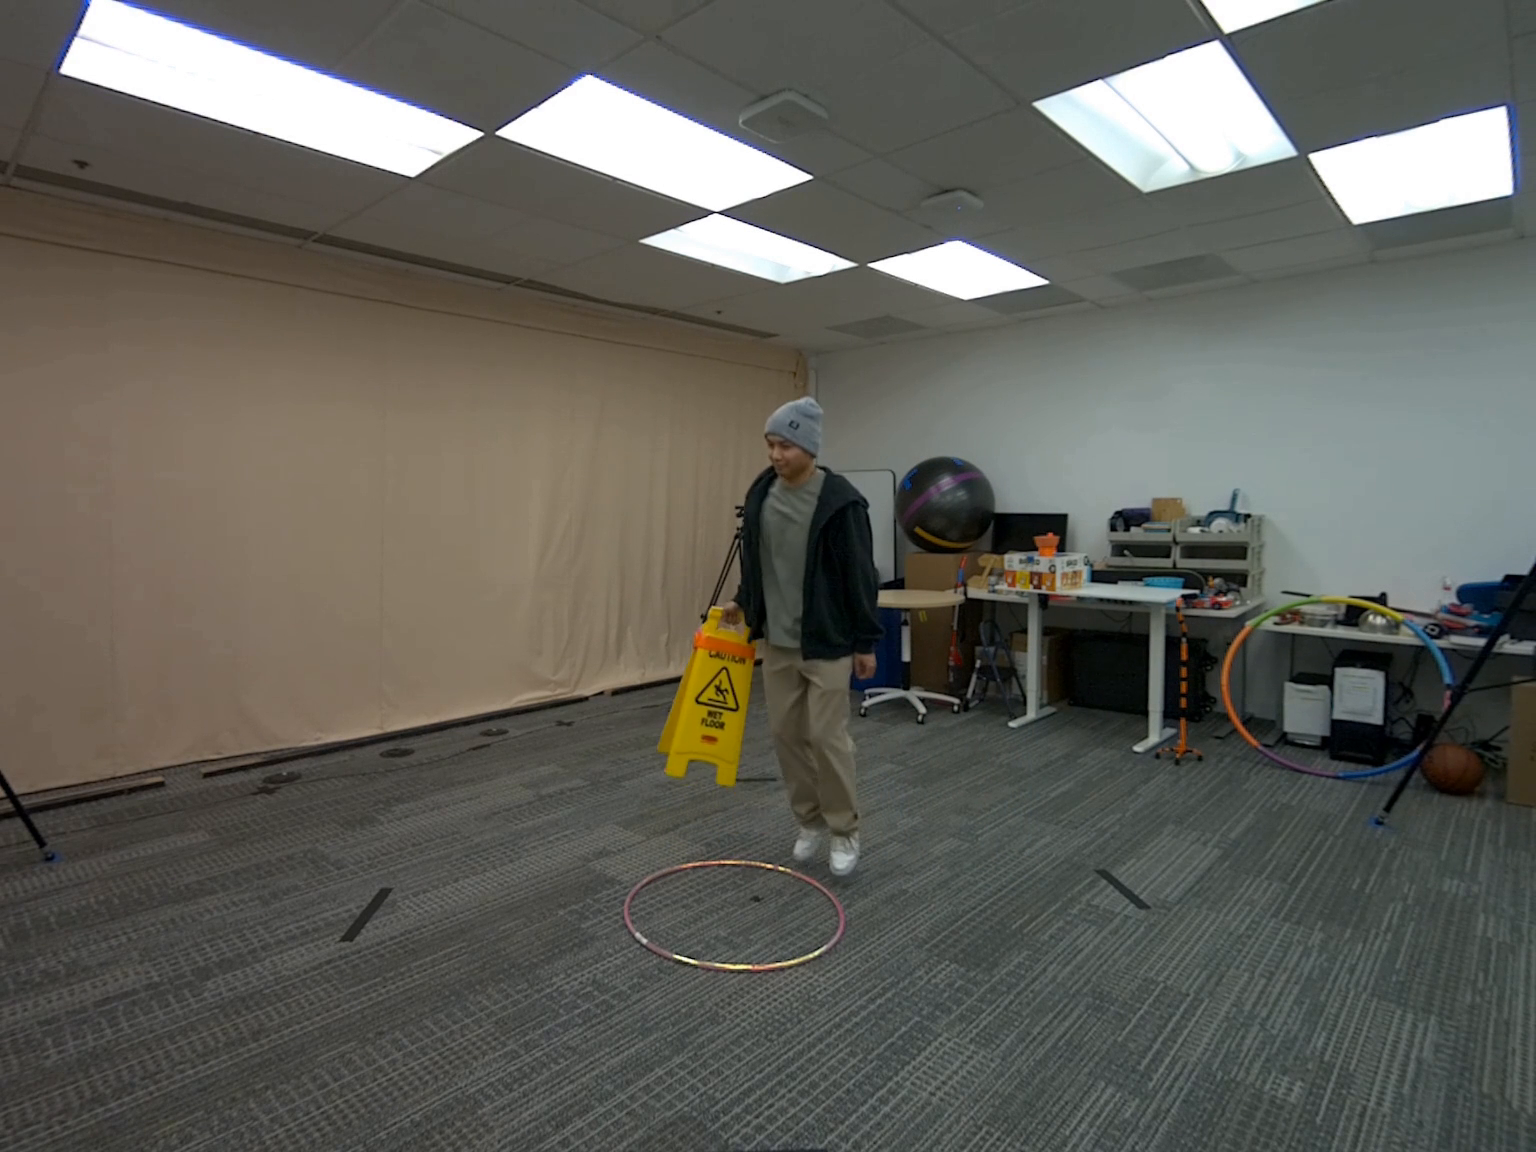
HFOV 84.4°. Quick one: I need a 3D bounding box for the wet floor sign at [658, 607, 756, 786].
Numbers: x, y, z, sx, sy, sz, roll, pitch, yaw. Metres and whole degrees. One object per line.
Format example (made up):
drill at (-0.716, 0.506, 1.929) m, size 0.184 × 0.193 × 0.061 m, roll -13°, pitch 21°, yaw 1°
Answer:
wet floor sign at (-0.205, 0.482, 3.313) m, size 0.278 × 0.645 × 0.294 m, roll 12°, pitch 4°, yaw -13°
